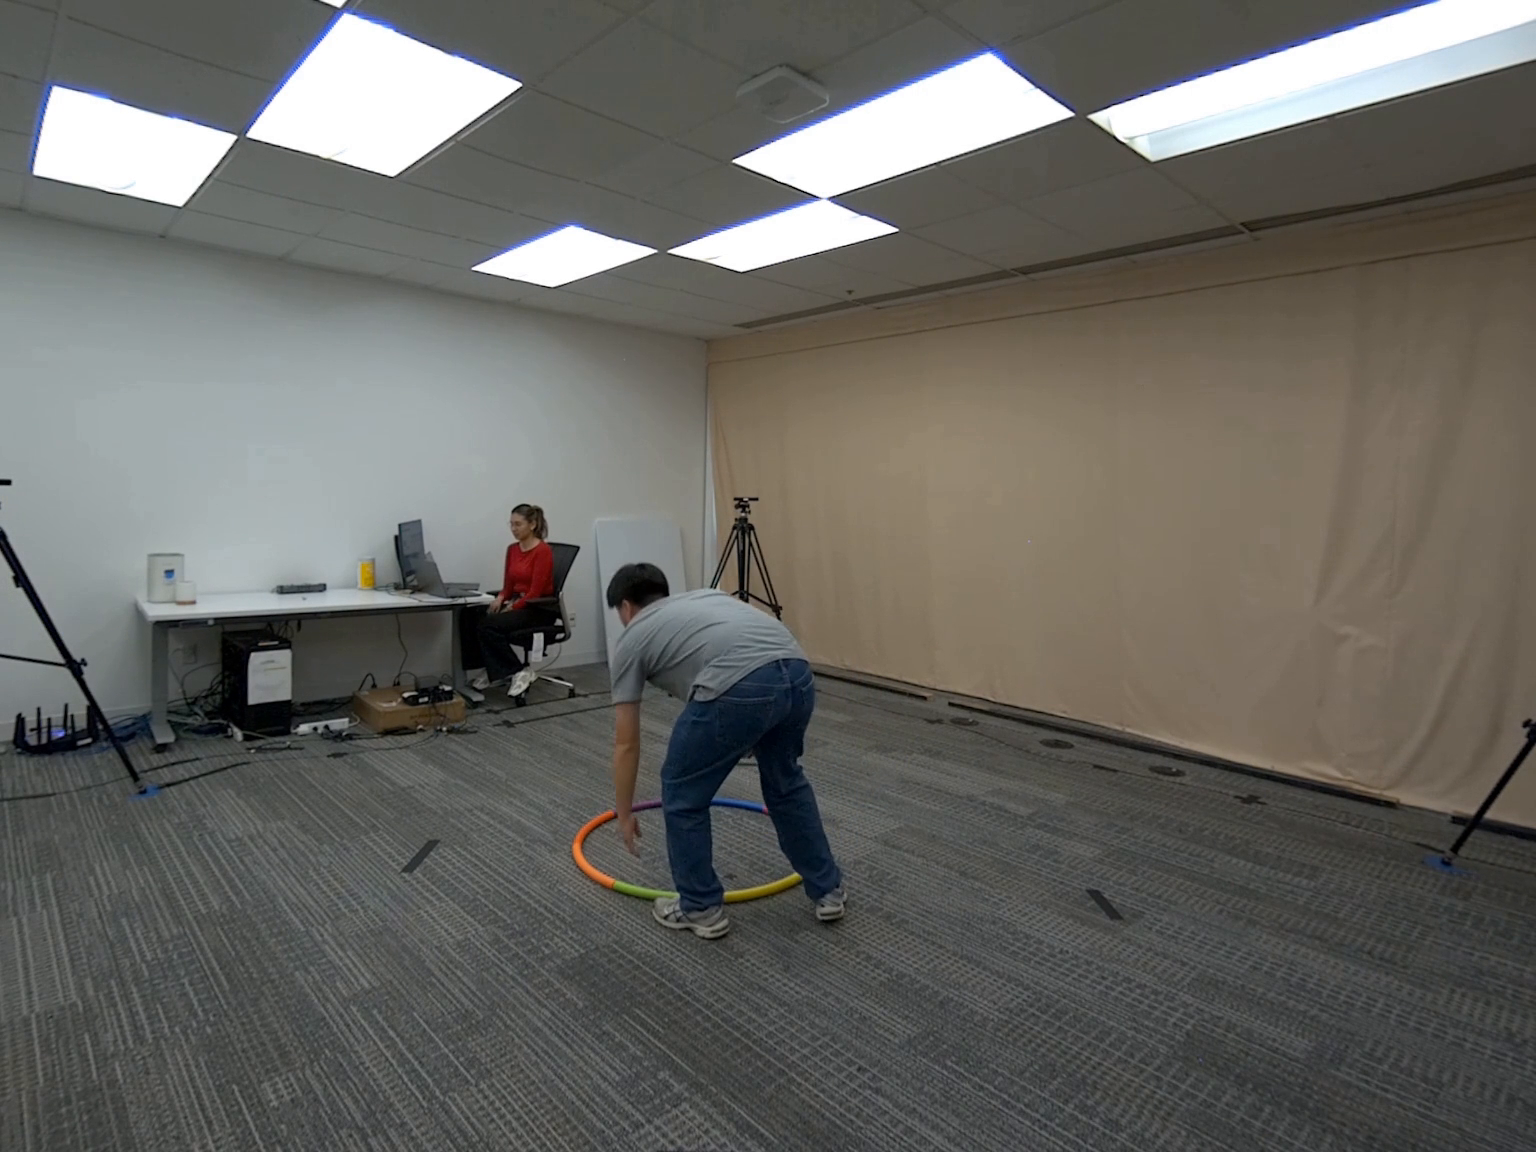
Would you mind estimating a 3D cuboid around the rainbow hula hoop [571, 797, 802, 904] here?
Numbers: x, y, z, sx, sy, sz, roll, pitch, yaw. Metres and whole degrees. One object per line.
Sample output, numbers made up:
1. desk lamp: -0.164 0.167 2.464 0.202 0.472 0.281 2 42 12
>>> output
1. rainbow hula hoop: -0.292 1.050 3.365 0.978 0.035 0.982 1 5 -1
